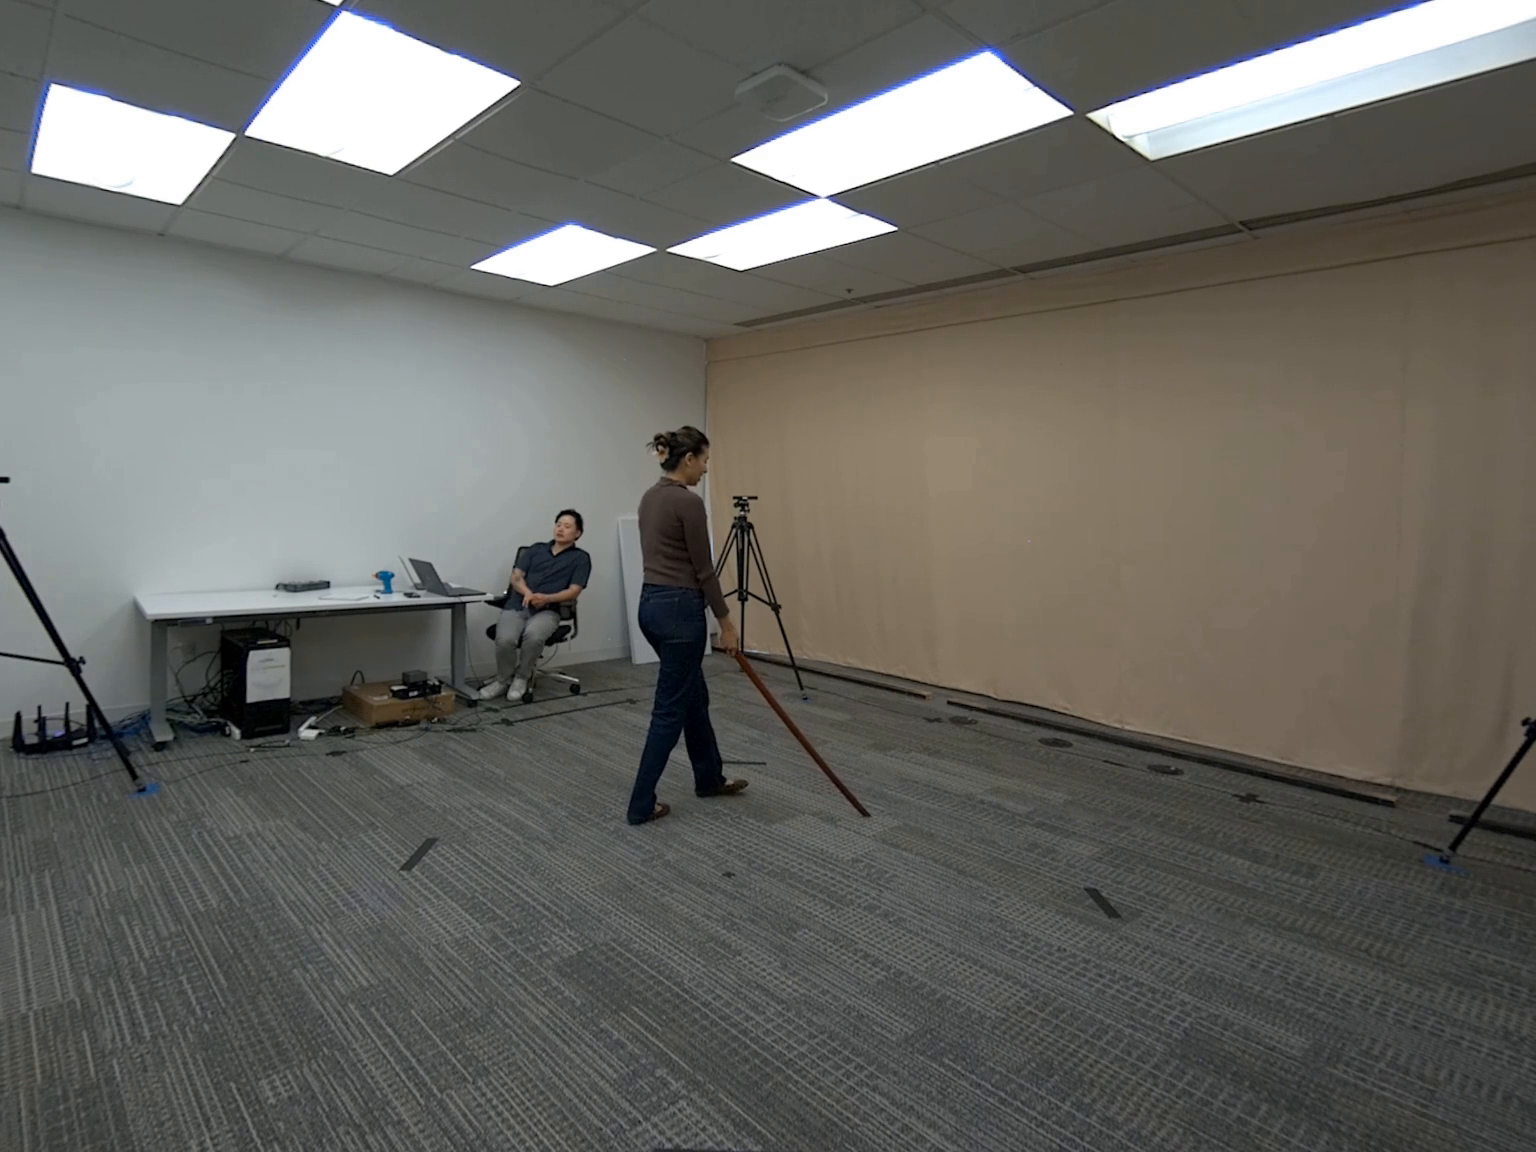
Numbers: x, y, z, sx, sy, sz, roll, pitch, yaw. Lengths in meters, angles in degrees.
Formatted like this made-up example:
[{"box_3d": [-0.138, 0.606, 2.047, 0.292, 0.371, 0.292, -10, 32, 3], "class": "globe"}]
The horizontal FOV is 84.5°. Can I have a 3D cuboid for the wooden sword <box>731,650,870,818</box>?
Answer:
[{"box_3d": [0.118, 0.674, 3.706, 0.024, 1.018, 0.052, -41, 7, -27], "class": "wooden sword"}]
